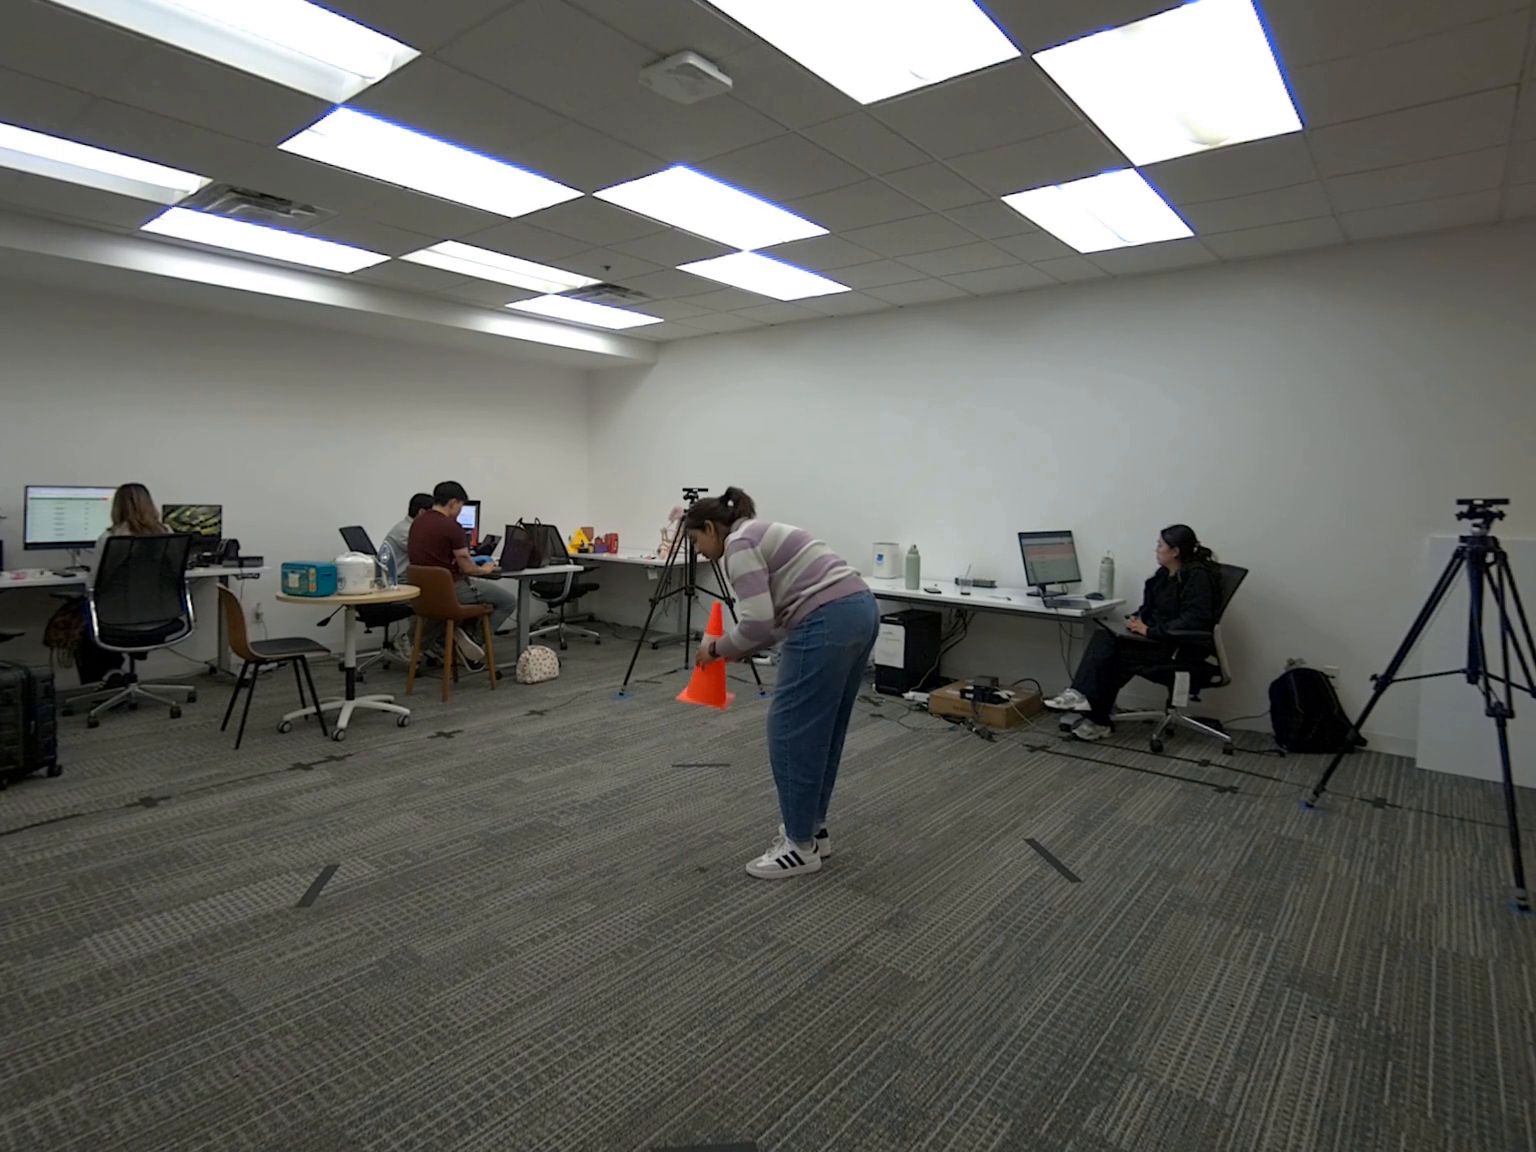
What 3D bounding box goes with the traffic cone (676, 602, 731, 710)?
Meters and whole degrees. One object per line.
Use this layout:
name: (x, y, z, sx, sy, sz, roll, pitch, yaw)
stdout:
traffic cone: (-0.216, 0.298, 3.324, 0.208, 0.381, 0.201, 10, 8, 13)
